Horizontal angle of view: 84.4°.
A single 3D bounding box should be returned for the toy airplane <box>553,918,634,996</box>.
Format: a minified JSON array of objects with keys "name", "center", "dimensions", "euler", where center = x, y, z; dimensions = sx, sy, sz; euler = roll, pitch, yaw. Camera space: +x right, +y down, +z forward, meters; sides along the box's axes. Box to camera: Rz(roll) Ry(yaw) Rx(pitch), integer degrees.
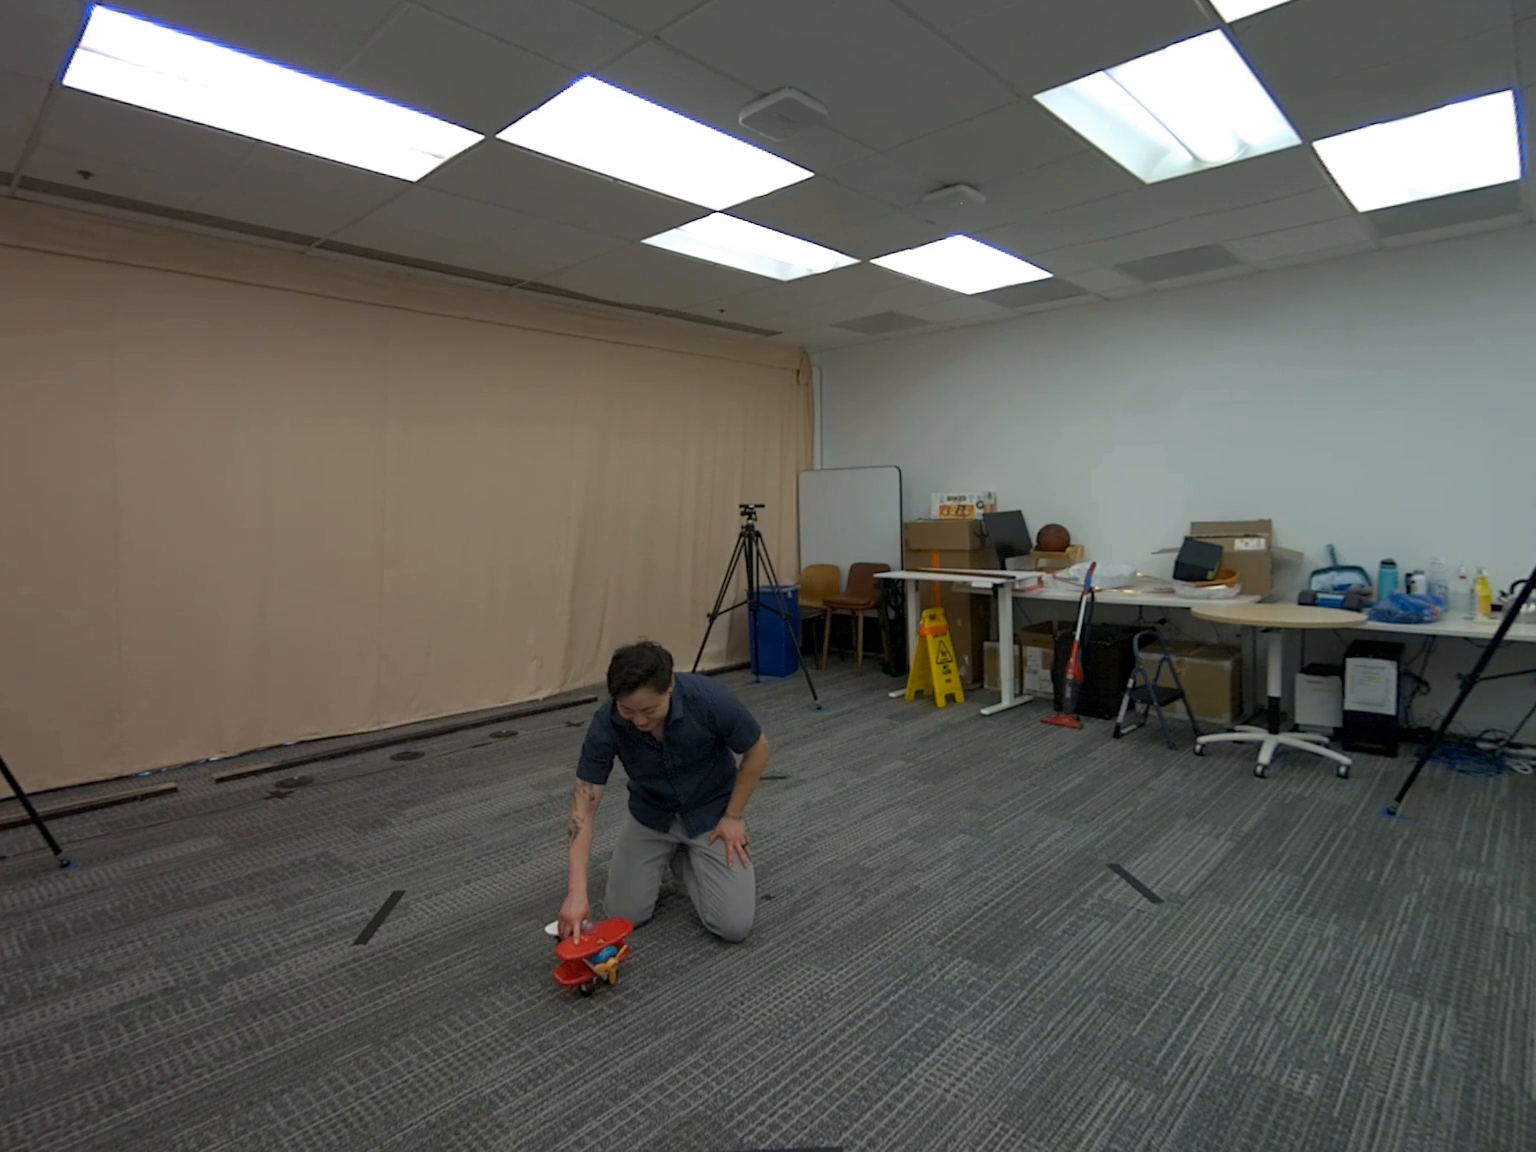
[{"name":"toy airplane","center":[-0.543,1.090,2.457],"dimensions":[0.263,0.155,0.249],"euler":[22,21,10]}]
